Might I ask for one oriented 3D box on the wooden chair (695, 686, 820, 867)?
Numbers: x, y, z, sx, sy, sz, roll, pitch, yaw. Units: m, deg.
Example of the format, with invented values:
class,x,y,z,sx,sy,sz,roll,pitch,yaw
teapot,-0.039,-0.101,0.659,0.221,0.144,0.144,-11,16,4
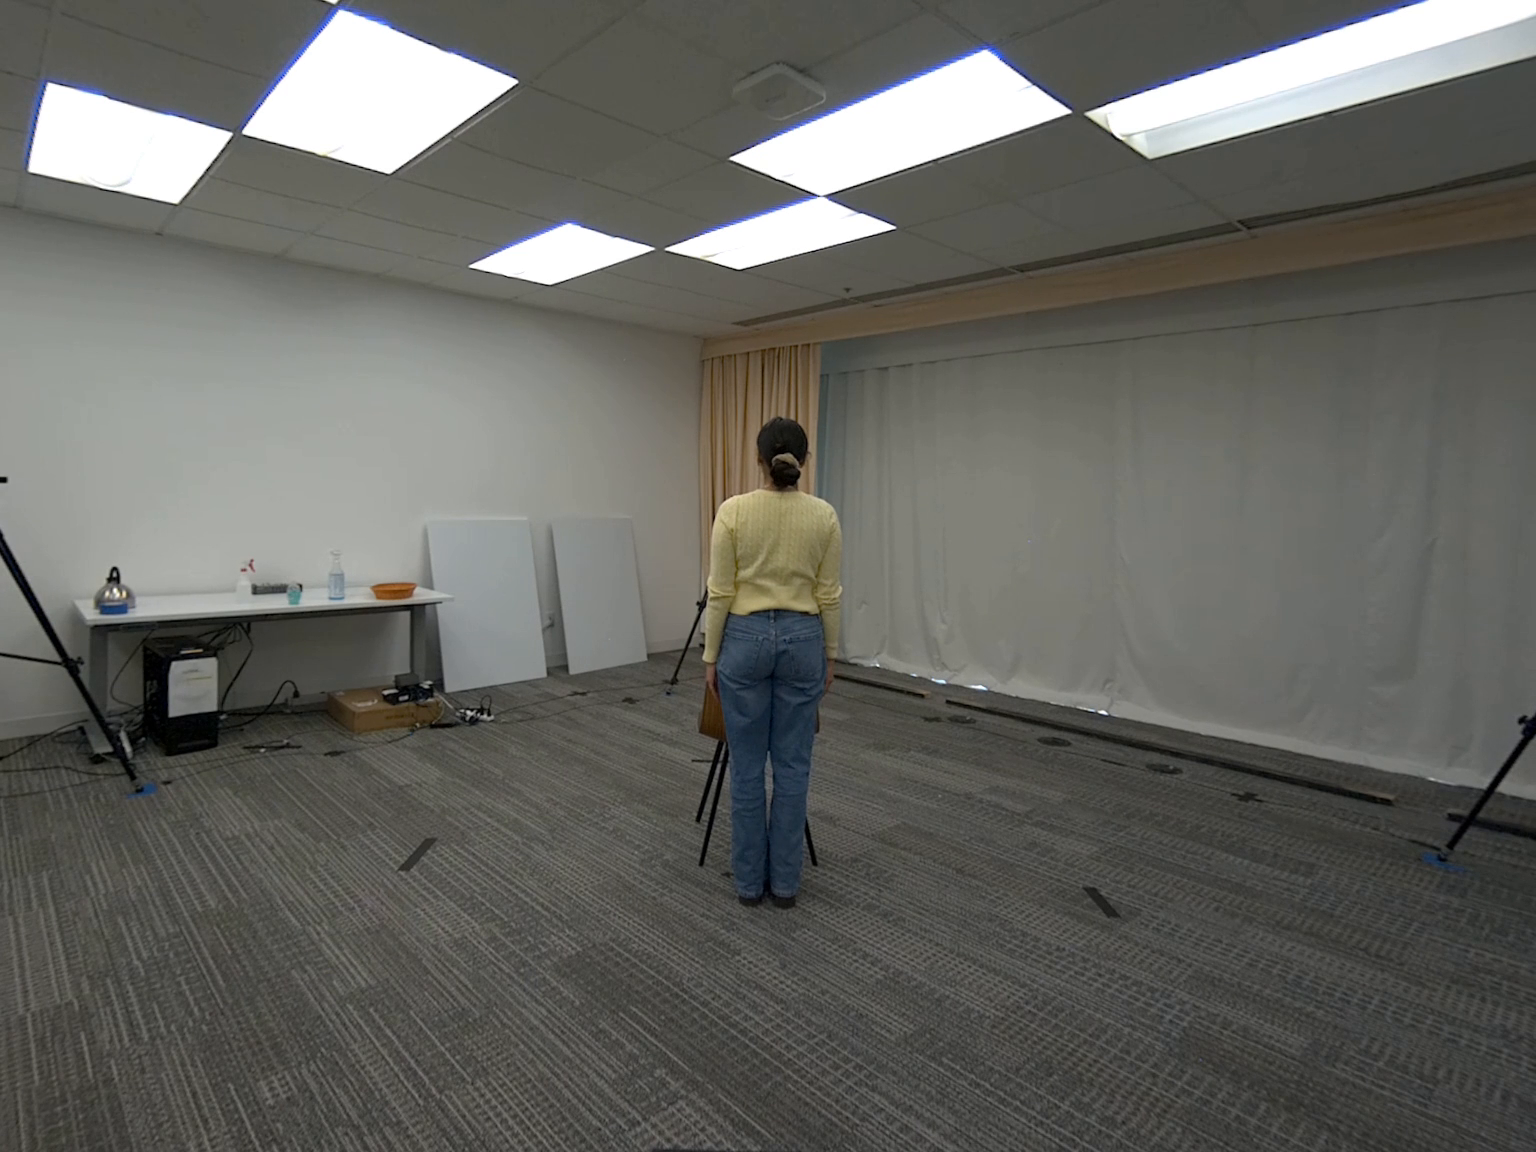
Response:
class,x,y,z,sx,sy,sz,roll,pitch,yaw
wooden chair,-0.054,0.654,3.384,0.476,0.873,0.528,0,7,-6
